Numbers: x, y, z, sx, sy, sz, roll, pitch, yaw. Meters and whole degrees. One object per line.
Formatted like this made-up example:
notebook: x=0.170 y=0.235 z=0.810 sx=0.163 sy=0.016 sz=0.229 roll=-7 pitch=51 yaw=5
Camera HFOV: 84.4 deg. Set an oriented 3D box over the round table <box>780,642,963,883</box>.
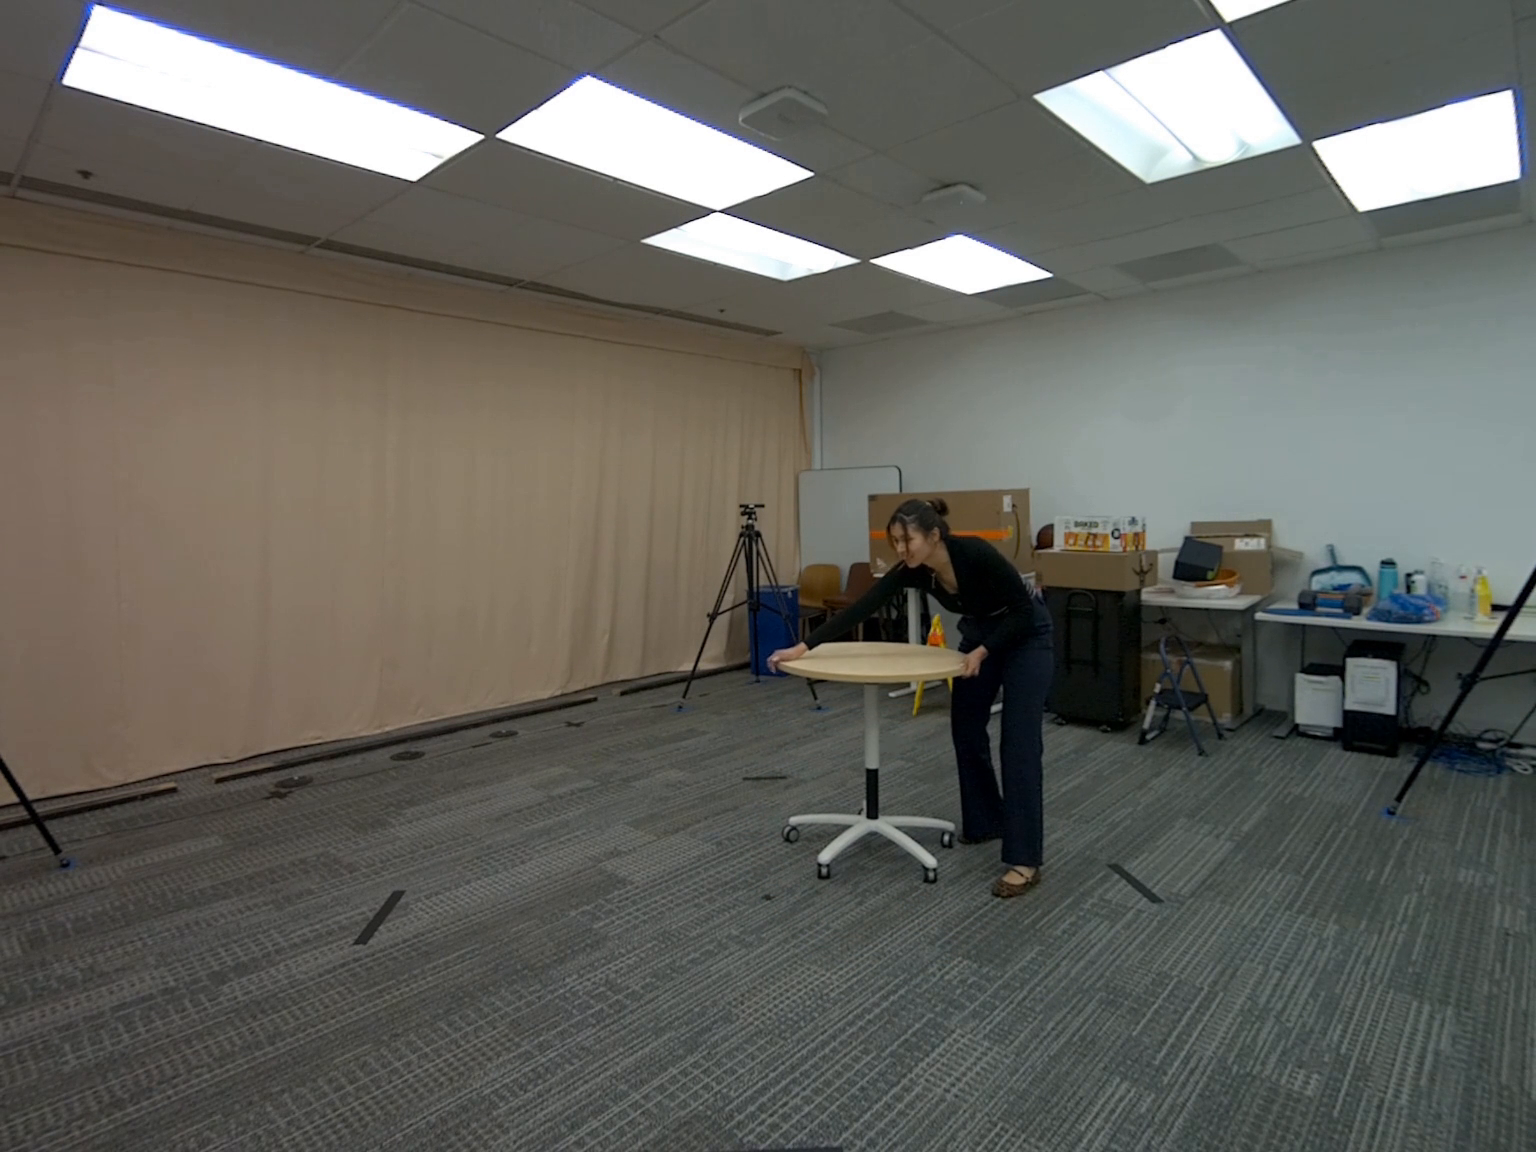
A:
round table: x=0.410 y=0.713 z=3.342 sx=0.763 sy=0.792 sz=0.766 roll=0 pitch=3 yaw=-2
